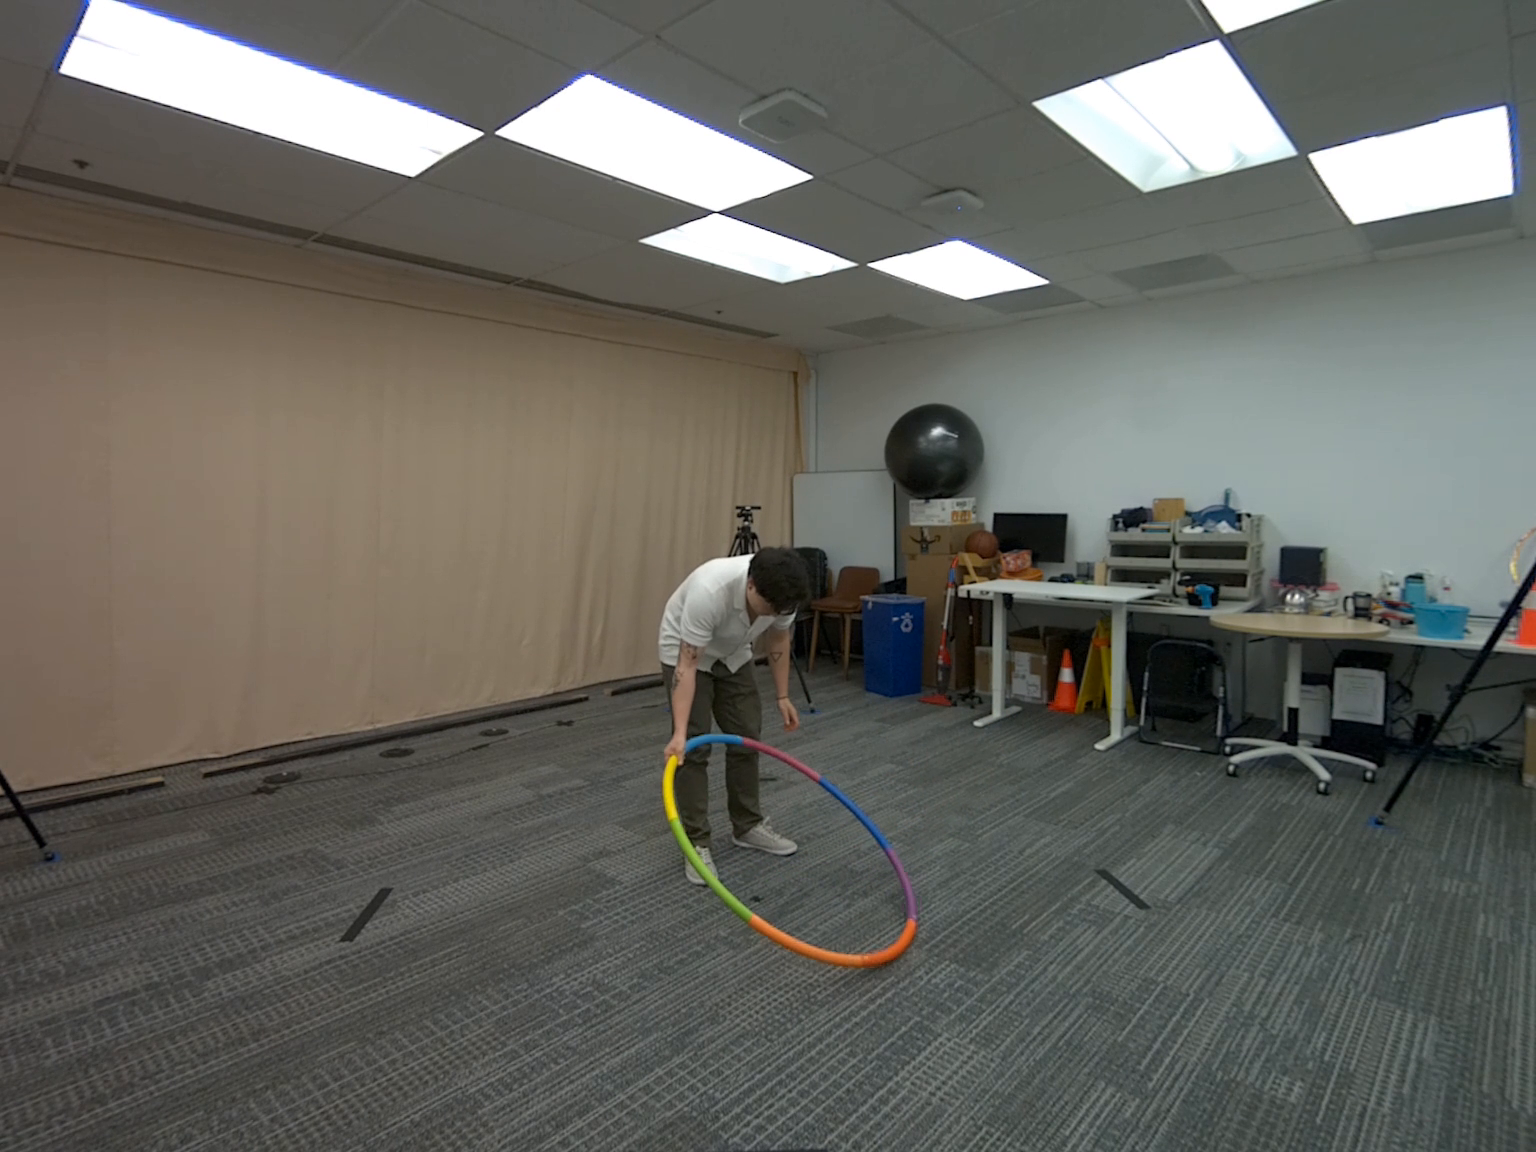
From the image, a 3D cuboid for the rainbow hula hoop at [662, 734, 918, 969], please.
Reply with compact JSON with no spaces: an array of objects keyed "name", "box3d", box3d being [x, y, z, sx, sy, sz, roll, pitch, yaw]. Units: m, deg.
[{"name":"rainbow hula hoop","box3d":[0.104,0.883,2.837,0.966,0.035,0.992,27,18,-11]}]
